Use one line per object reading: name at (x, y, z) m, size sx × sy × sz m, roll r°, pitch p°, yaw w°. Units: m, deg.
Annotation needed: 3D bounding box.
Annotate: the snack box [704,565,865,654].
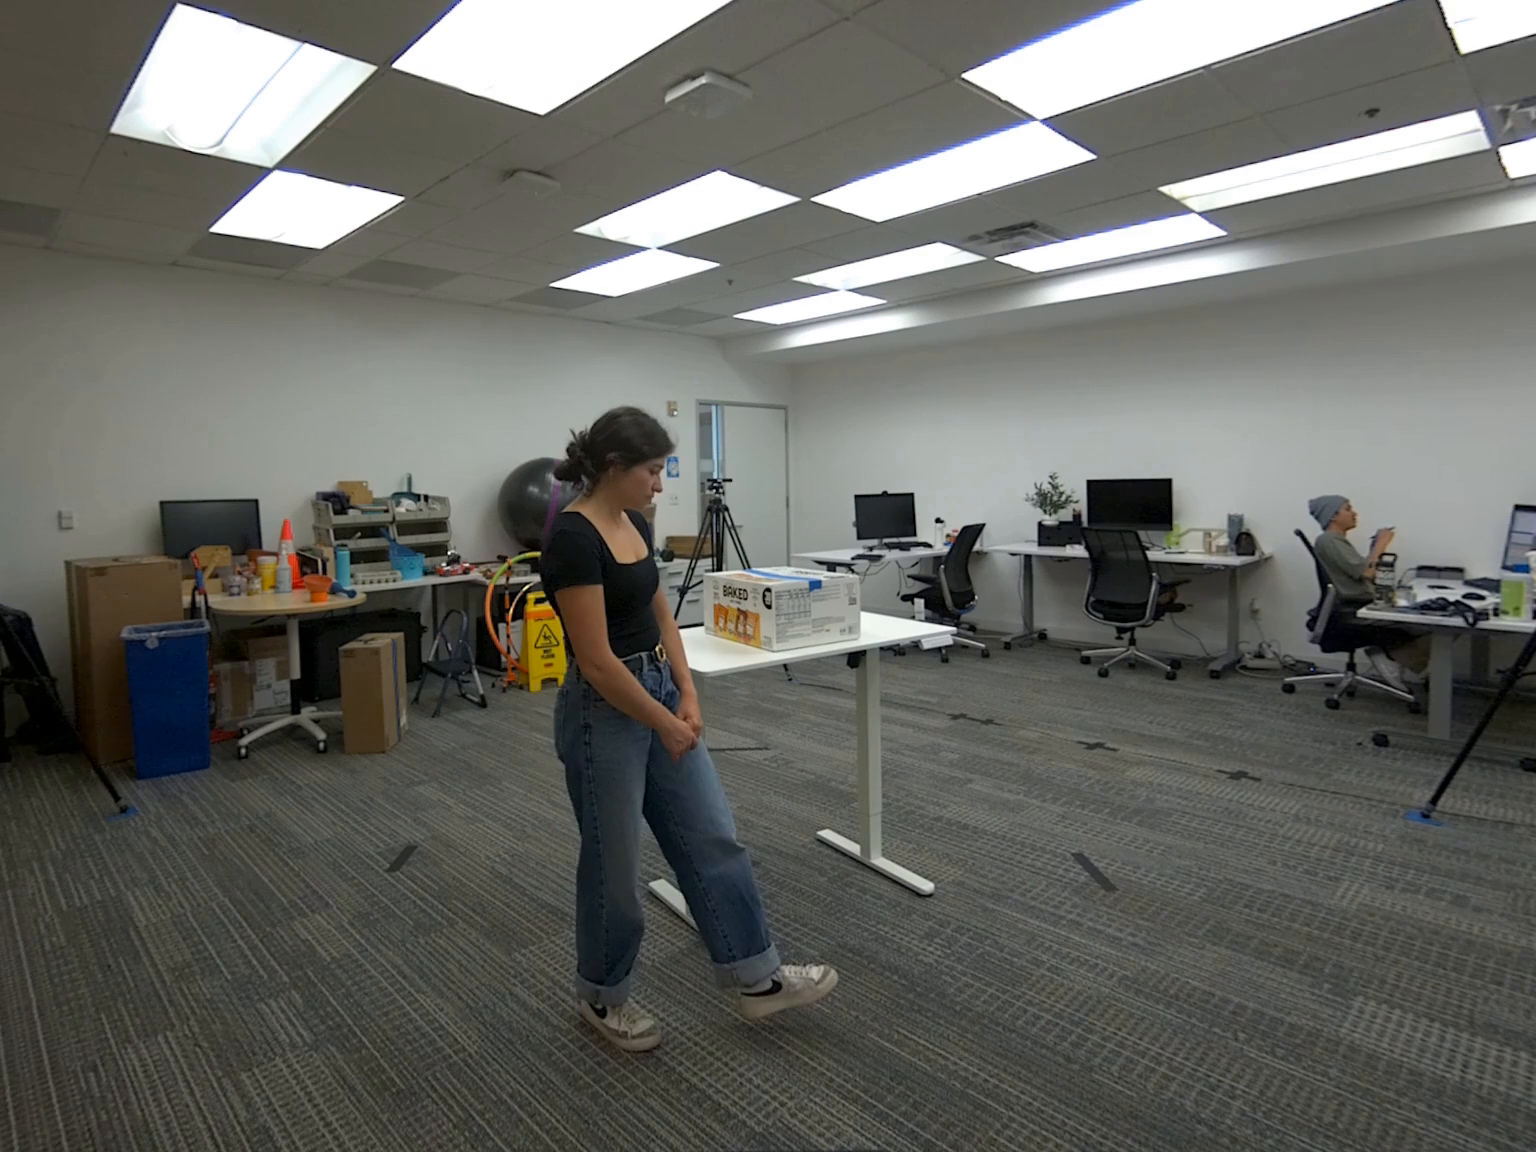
snack box at (0.046, 0.095, 2.787) m, size 0.332 × 0.205 × 0.417 m, roll -5°, pitch 7°, yaw -33°
